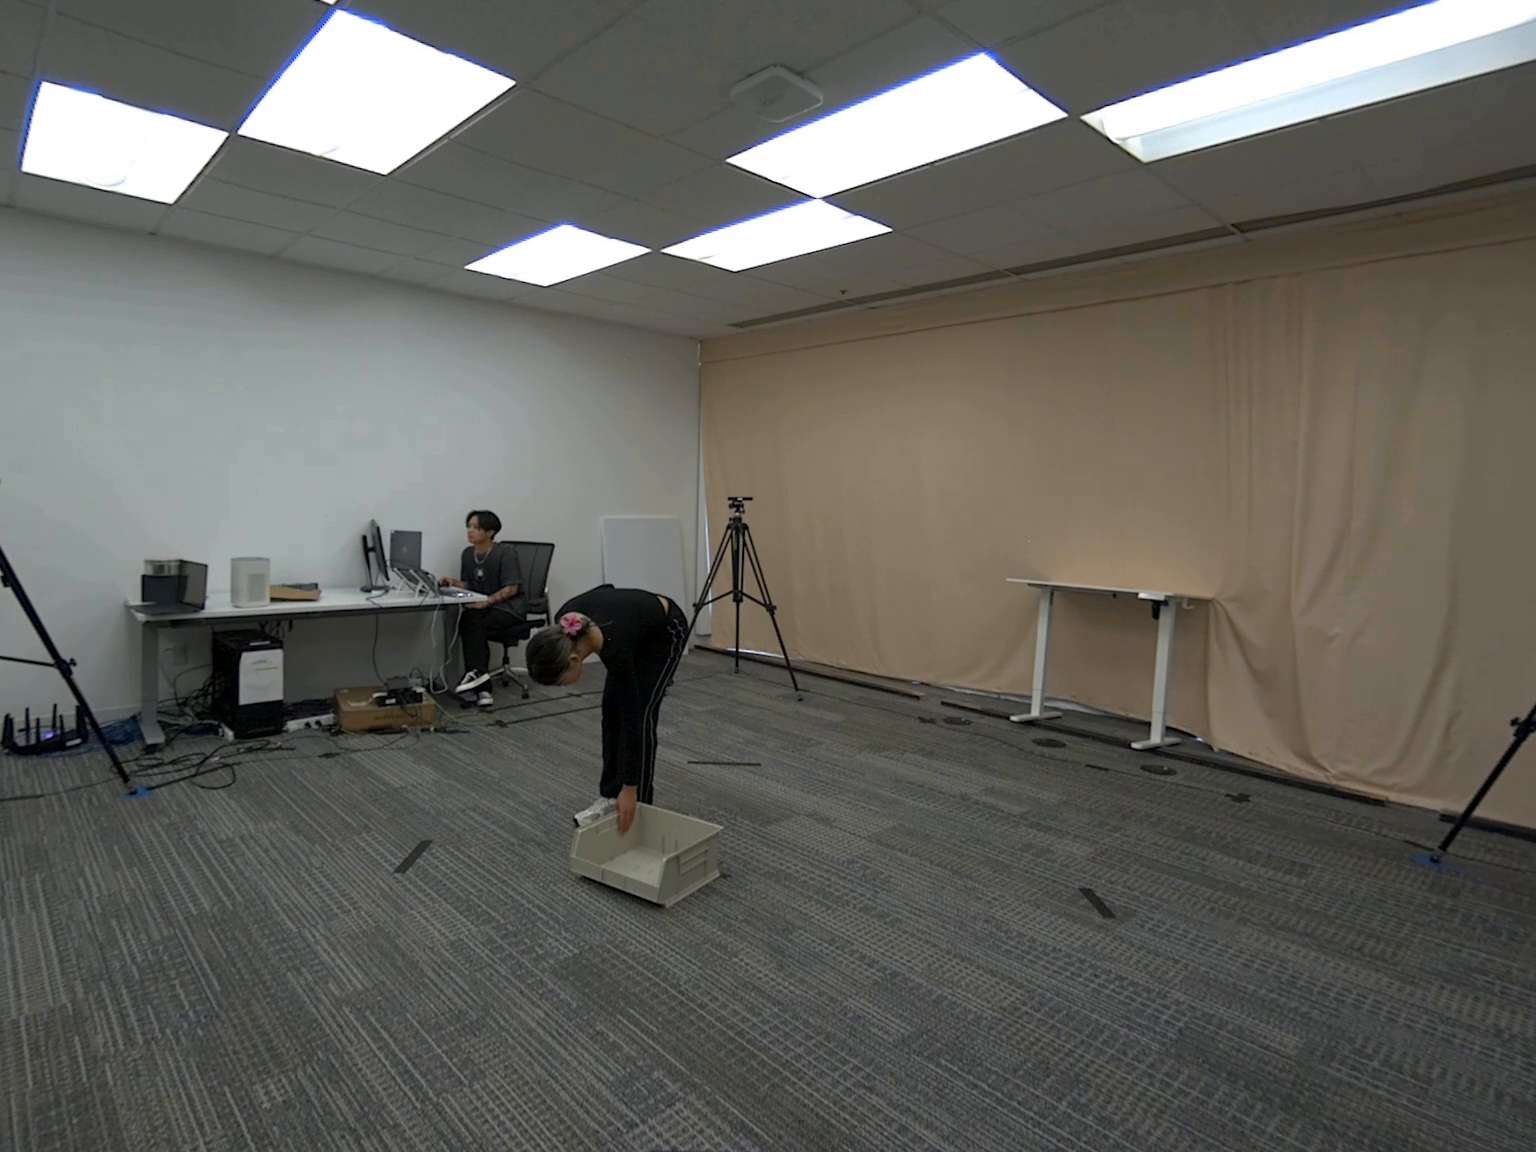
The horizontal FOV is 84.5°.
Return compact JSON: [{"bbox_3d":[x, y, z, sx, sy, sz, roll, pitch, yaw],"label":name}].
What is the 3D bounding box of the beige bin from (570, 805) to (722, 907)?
[{"bbox_3d":[-0.446,1.018,3.074,0.432,0.188,0.369,4,4,33],"label":"beige bin"}]
